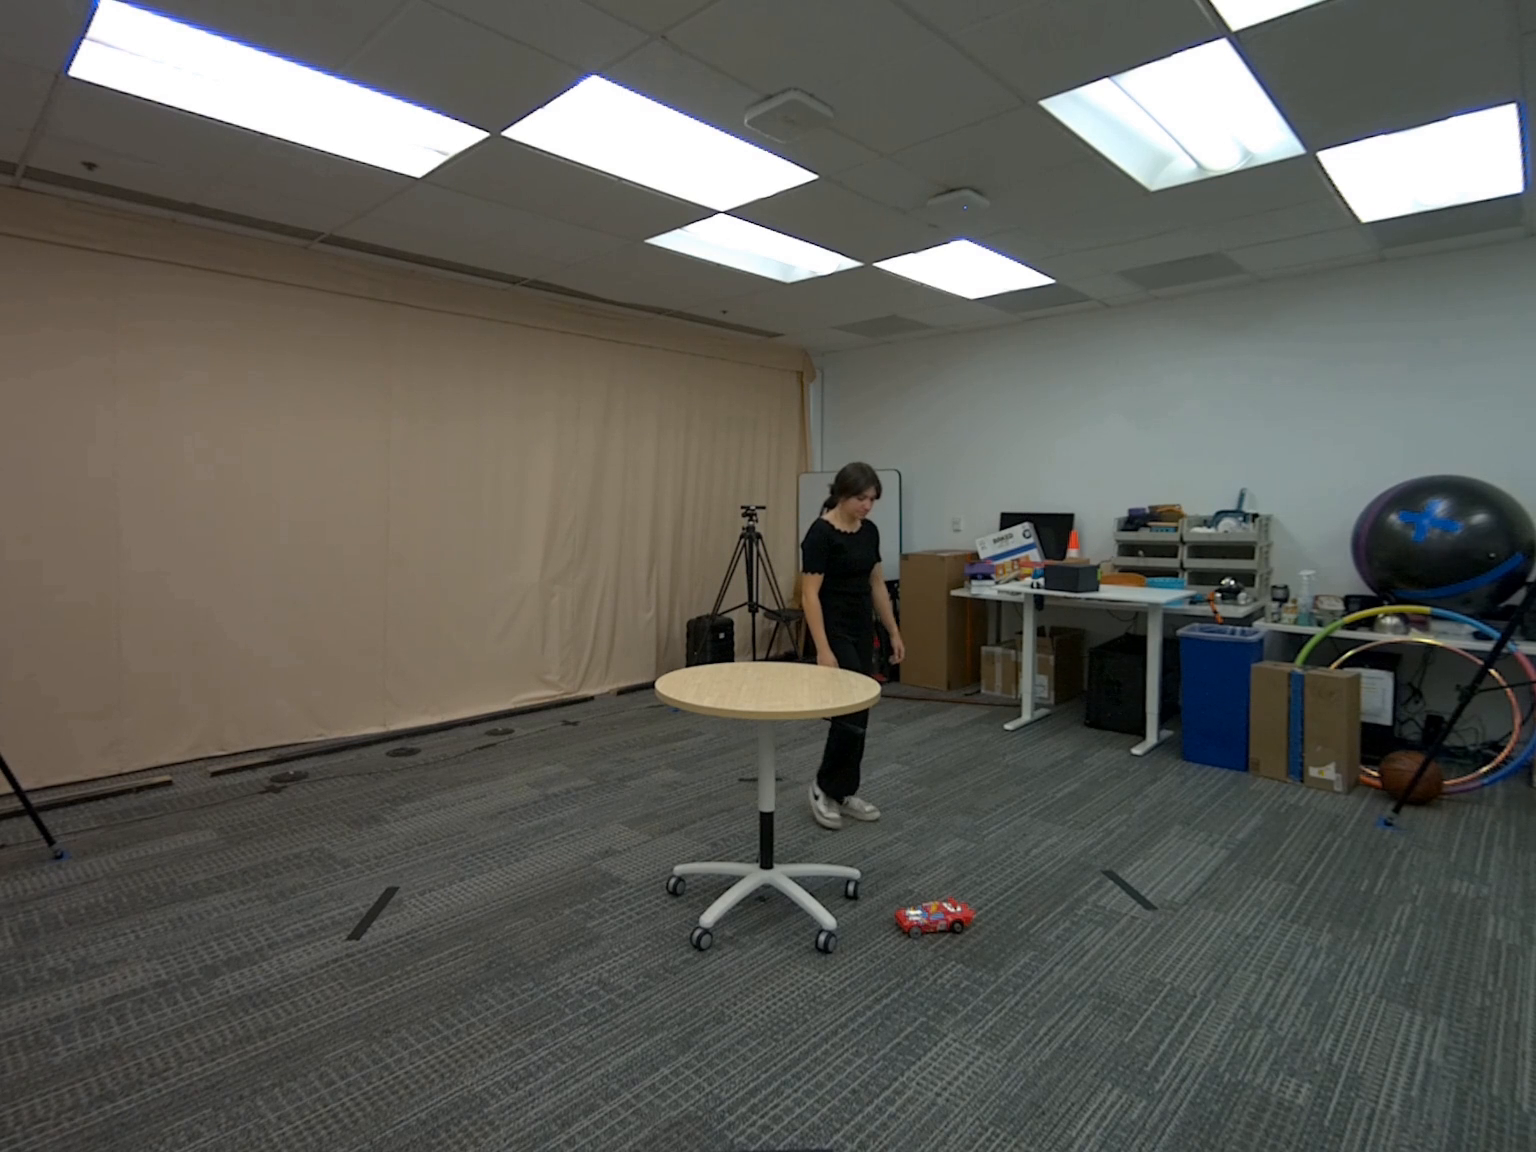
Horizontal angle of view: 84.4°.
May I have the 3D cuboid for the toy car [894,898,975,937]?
[{"bbox_3d":[0.550,1.119,2.774,0.252,0.083,0.132,-13,7,-10],"label":"toy car"}]
